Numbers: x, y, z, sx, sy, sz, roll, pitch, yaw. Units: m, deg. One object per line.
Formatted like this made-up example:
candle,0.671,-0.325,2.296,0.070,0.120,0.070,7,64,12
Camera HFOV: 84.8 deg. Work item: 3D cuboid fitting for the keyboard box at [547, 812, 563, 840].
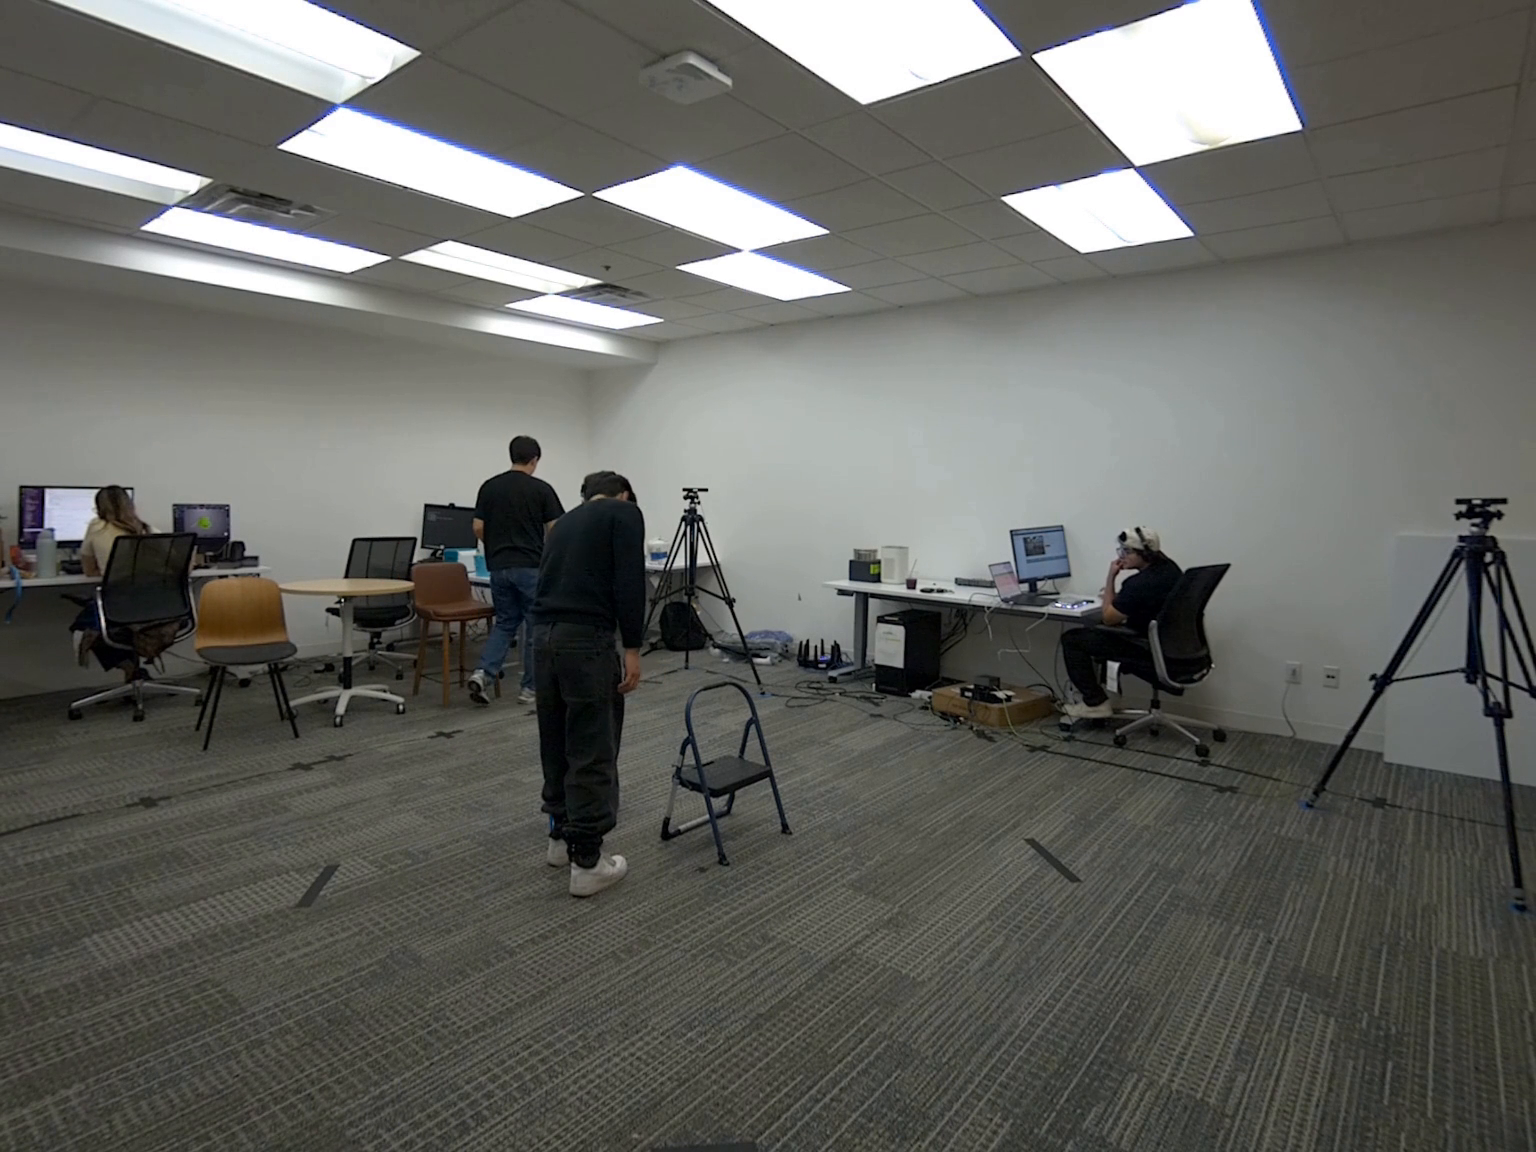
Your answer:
keyboard box,-0.759,0.931,3.506,0.060,0.176,0.428,-5,2,21
